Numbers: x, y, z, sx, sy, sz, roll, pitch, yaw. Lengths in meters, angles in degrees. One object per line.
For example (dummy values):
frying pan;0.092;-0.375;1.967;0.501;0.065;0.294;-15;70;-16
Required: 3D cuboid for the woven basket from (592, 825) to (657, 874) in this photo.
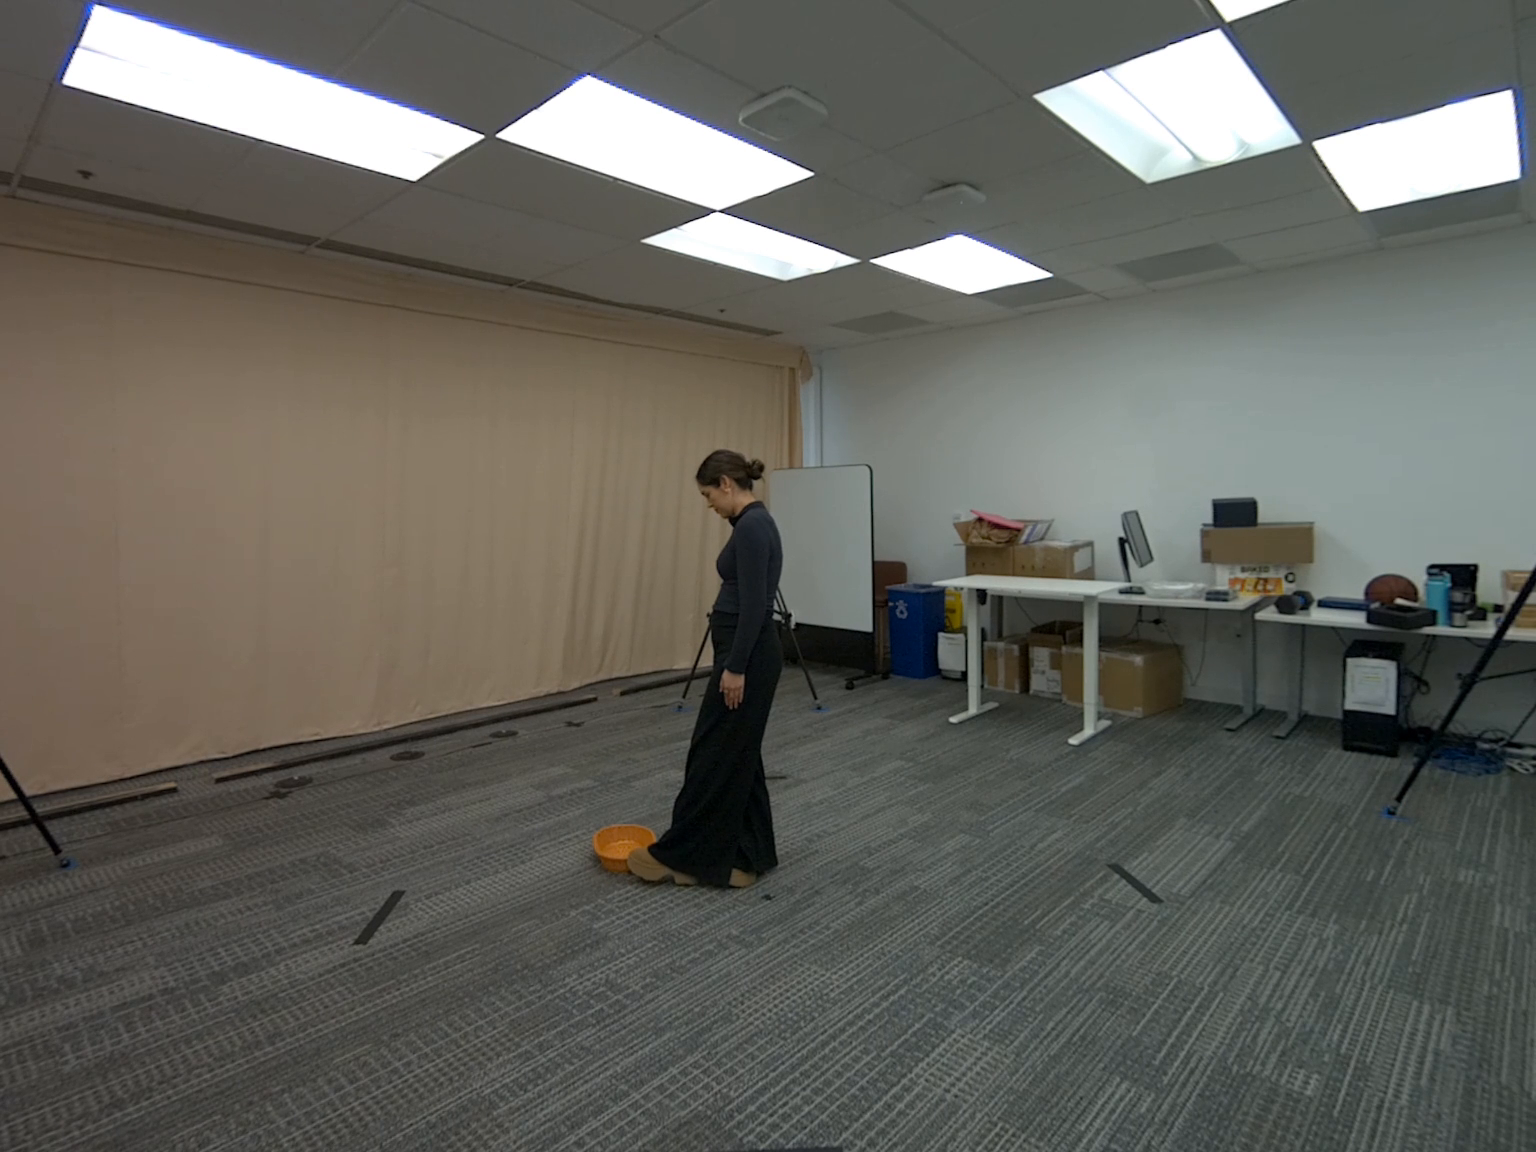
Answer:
woven basket;-0.570;1.084;3.344;0.249;0.073;0.356;-1;4;-13
